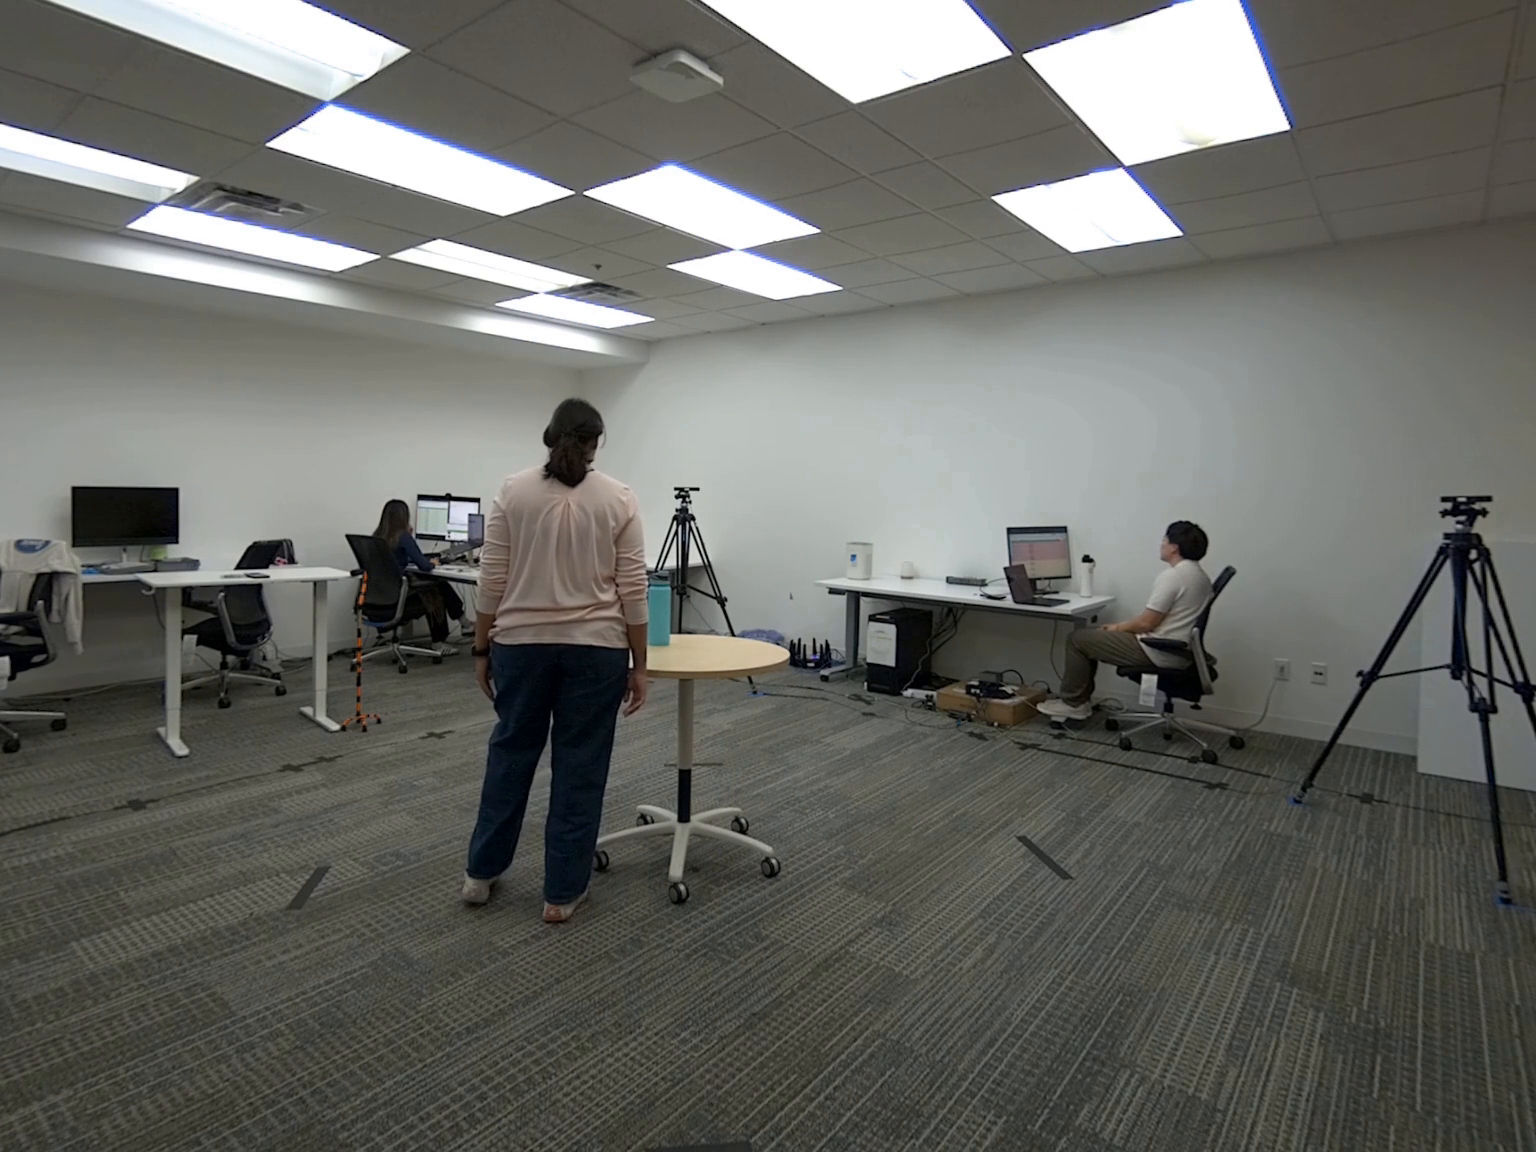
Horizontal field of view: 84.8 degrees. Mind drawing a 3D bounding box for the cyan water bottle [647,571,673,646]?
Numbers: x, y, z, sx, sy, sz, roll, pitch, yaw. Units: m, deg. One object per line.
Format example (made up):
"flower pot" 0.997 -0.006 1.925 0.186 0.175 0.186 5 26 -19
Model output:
"cyan water bottle" -0.435 0.122 3.306 0.092 0.283 0.092 1 2 -2
